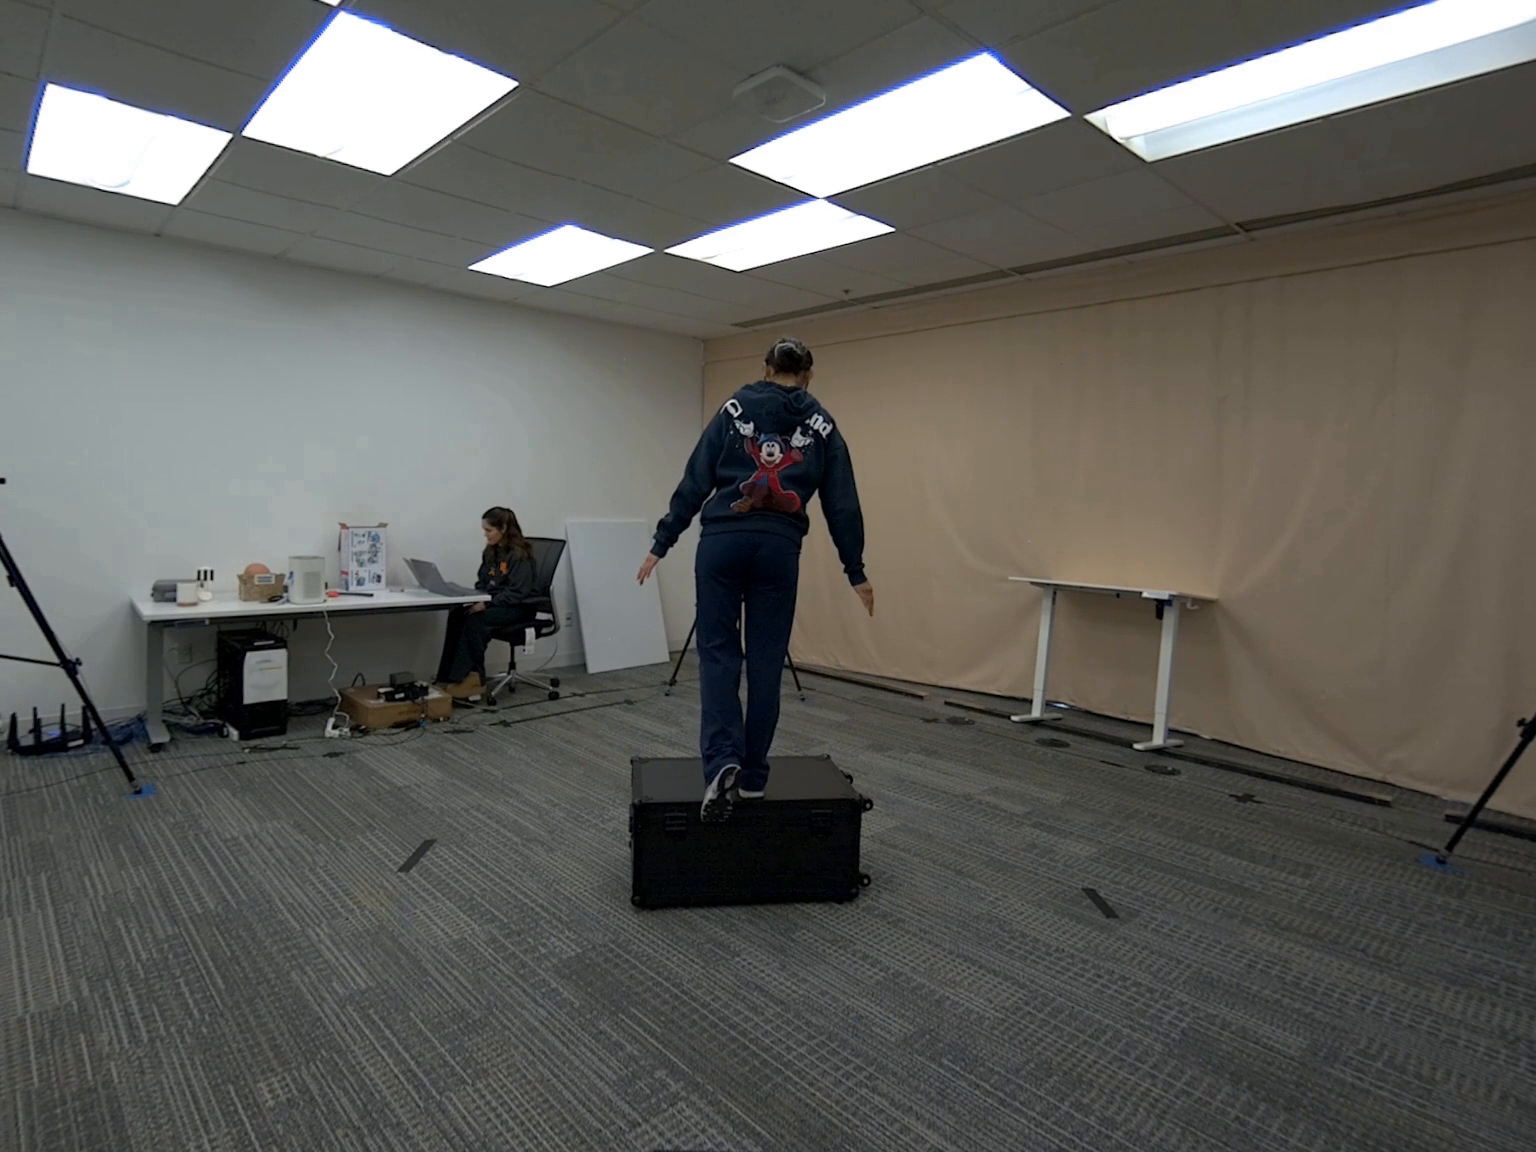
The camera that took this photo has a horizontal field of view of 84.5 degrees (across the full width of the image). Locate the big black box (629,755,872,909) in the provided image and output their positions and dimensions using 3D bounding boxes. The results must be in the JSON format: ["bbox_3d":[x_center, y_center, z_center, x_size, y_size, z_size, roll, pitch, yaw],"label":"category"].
[{"bbox_3d":[-0.077,0.920,3.090,0.855,0.395,0.526,0,5,-9],"label":"big black box"}]
